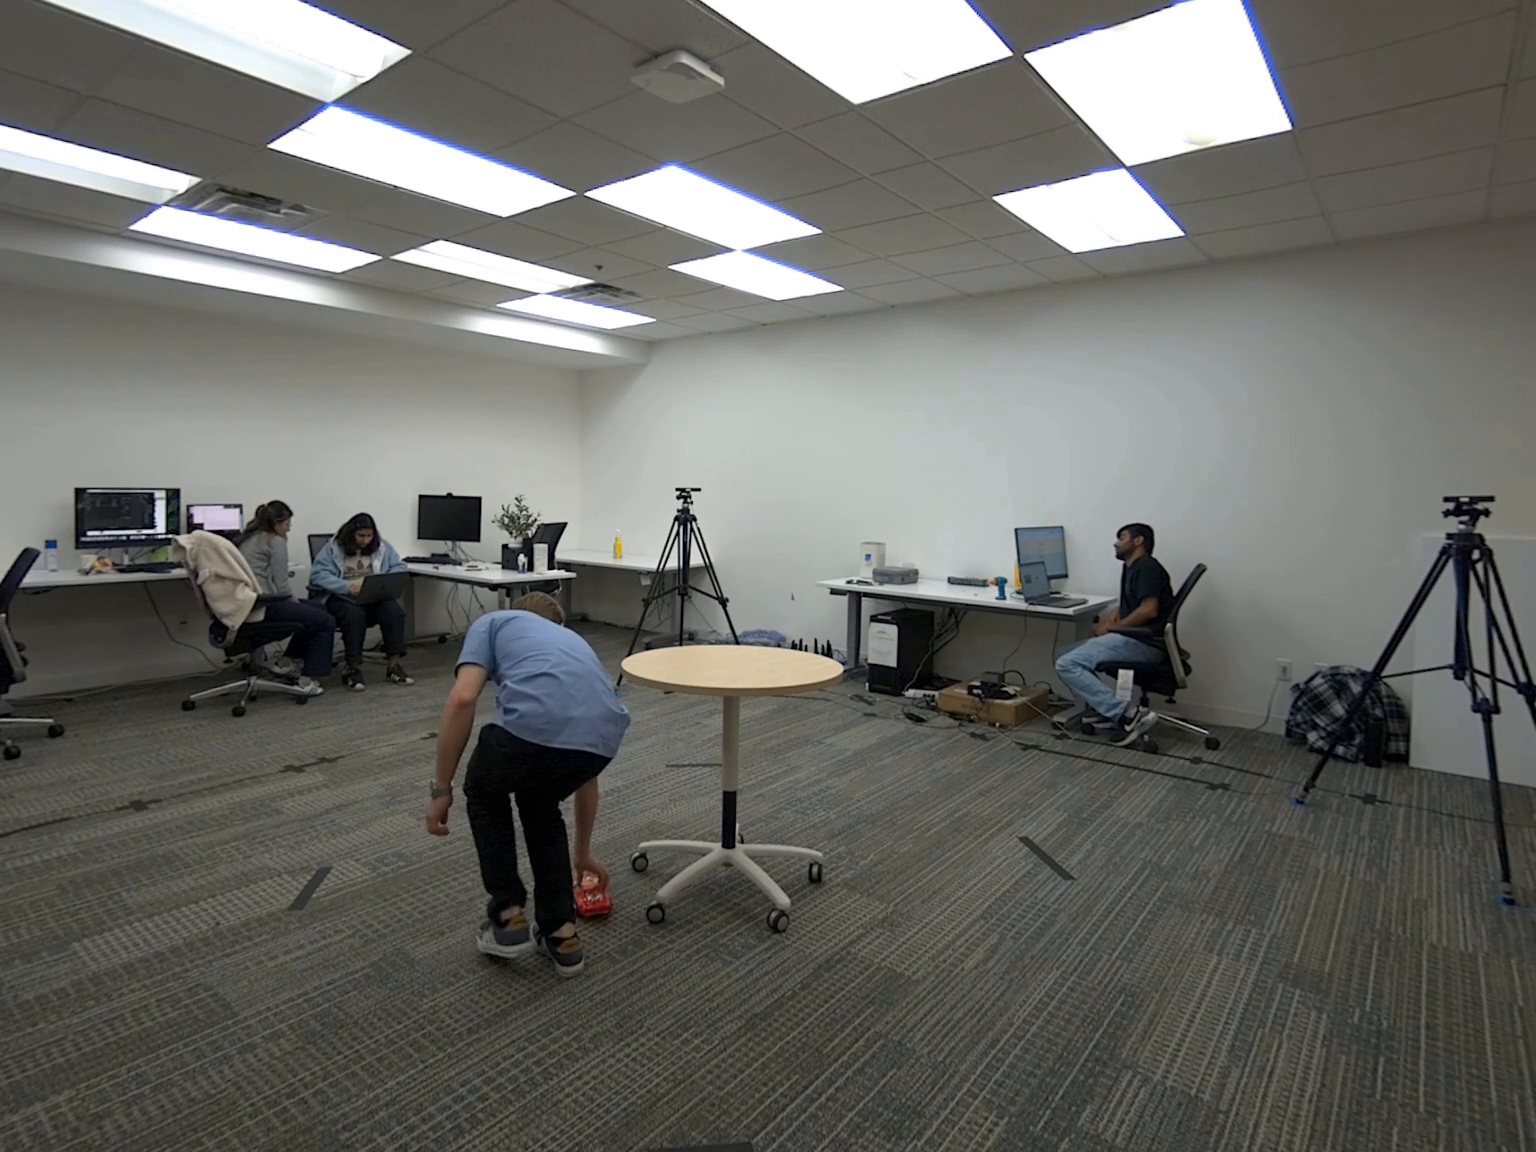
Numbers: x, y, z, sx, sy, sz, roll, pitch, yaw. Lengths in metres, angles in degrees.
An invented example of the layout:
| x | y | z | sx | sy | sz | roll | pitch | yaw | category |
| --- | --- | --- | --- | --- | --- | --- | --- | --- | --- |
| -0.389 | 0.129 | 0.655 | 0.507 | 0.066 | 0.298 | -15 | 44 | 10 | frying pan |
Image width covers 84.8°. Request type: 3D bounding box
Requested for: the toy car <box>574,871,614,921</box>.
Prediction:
| x | y | z | sx | sy | sz | roll | pitch | yaw | category |
| --- | --- | --- | --- | --- | --- | --- | --- | --- | --- |
| -0.601 | 1.065 | 2.813 | 0.128 | 0.084 | 0.257 | -2 | -5 | -20 | toy car |
